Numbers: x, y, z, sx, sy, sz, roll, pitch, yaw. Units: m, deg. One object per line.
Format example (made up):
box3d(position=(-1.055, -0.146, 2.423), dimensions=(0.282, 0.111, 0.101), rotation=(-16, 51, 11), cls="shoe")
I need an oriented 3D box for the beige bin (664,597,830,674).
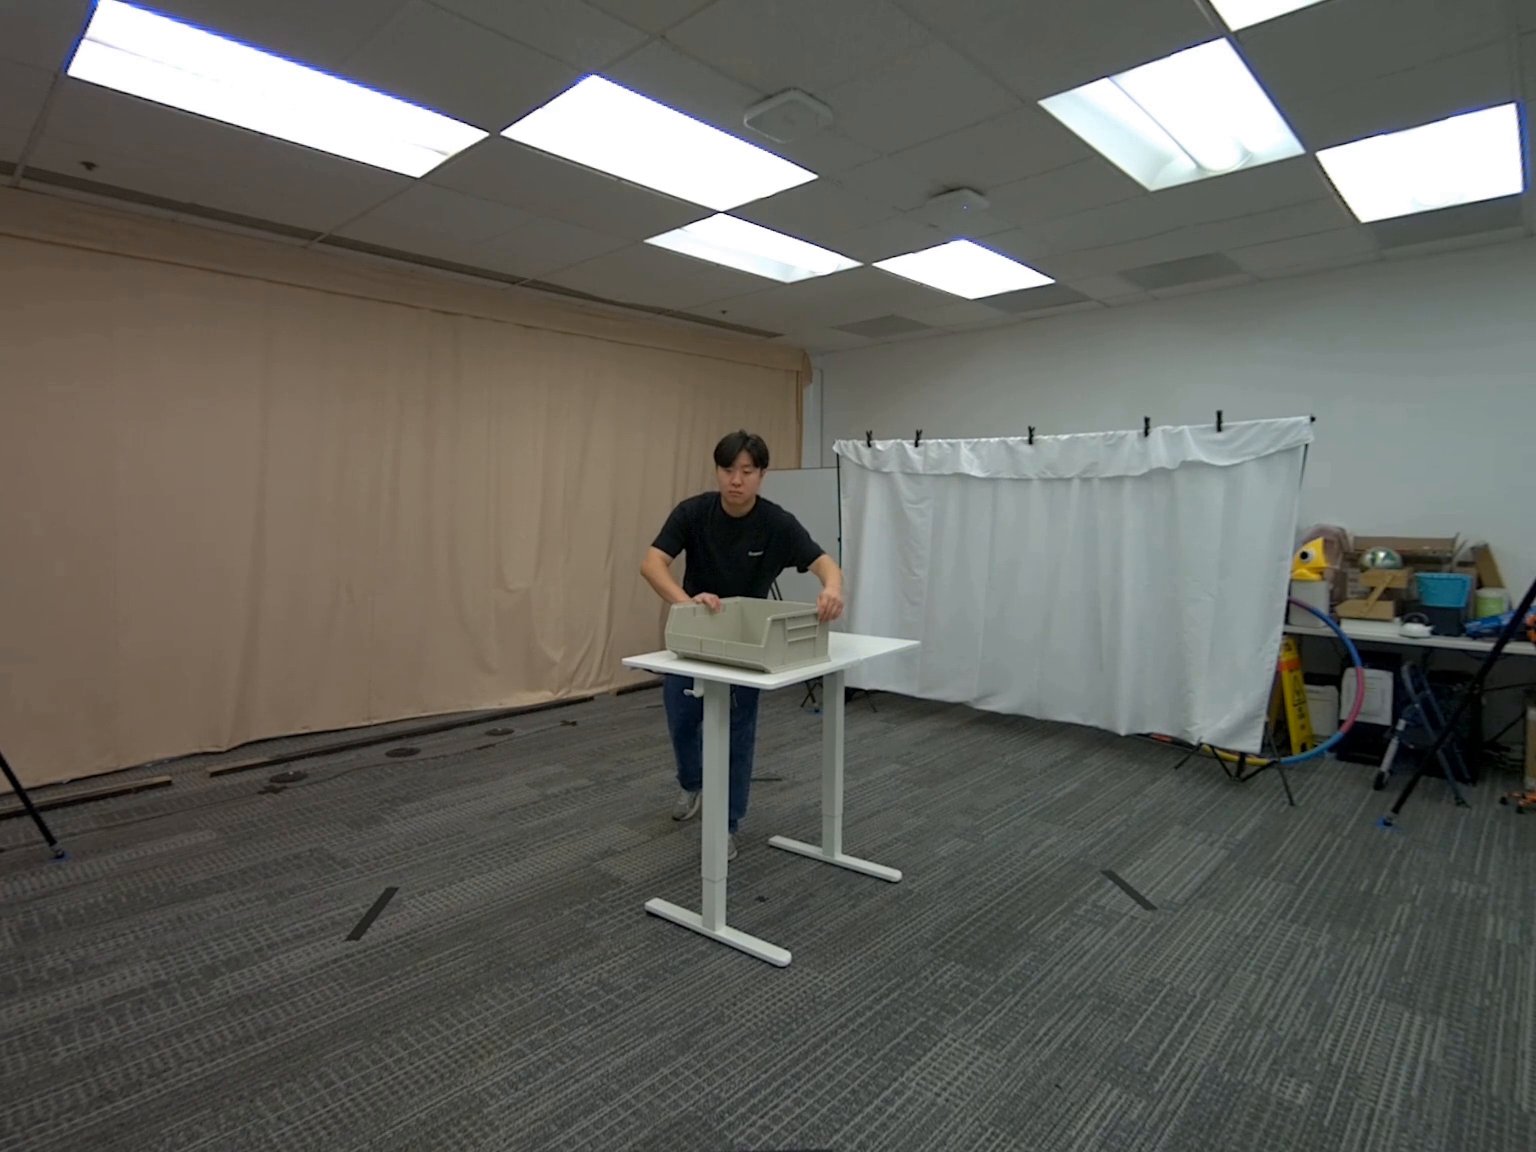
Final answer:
box3d(position=(-0.059, 0.189, 2.764), dimensions=(0.436, 0.189, 0.365), rotation=(4, 4, 40), cls="beige bin")
